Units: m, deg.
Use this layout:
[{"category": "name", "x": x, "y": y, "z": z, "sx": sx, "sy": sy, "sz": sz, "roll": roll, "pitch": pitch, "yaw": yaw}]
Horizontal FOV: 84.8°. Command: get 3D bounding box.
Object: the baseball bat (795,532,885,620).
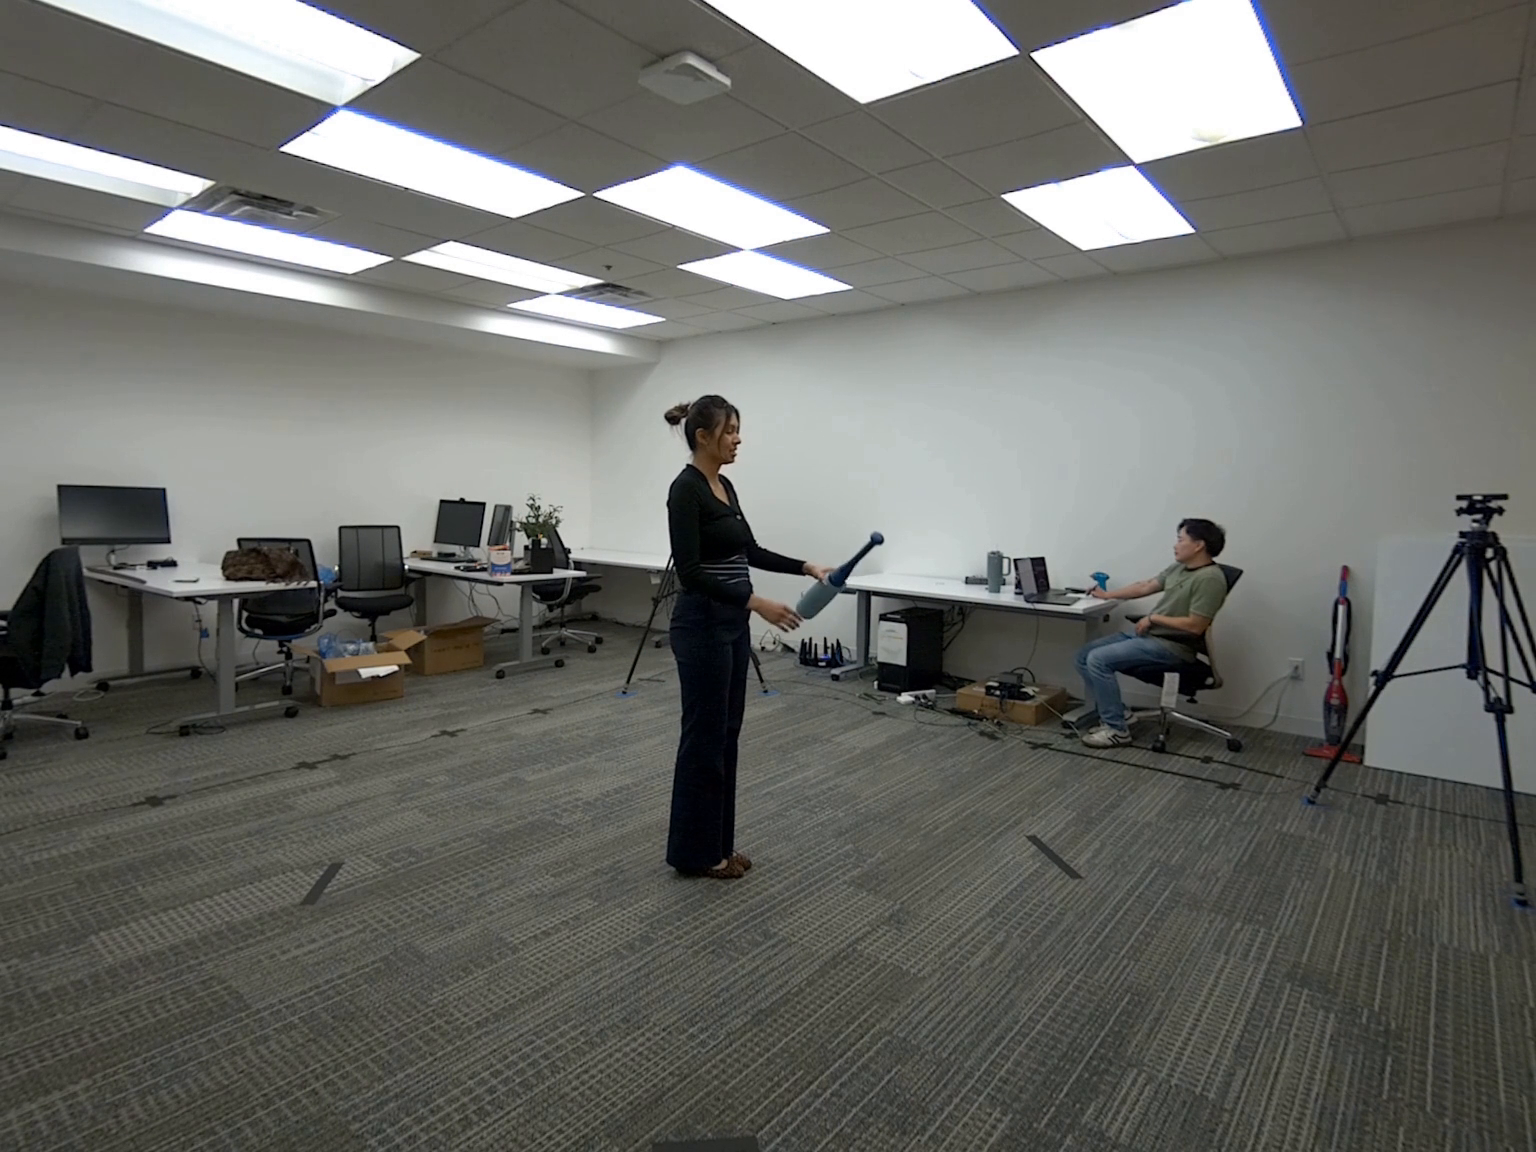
[{"category": "baseball bat", "x": 0.241, "y": 0.007, "z": 3.083, "sx": 0.086, "sy": 0.092, "sz": 0.542, "roll": -1, "pitch": -30, "yaw": -32}]
